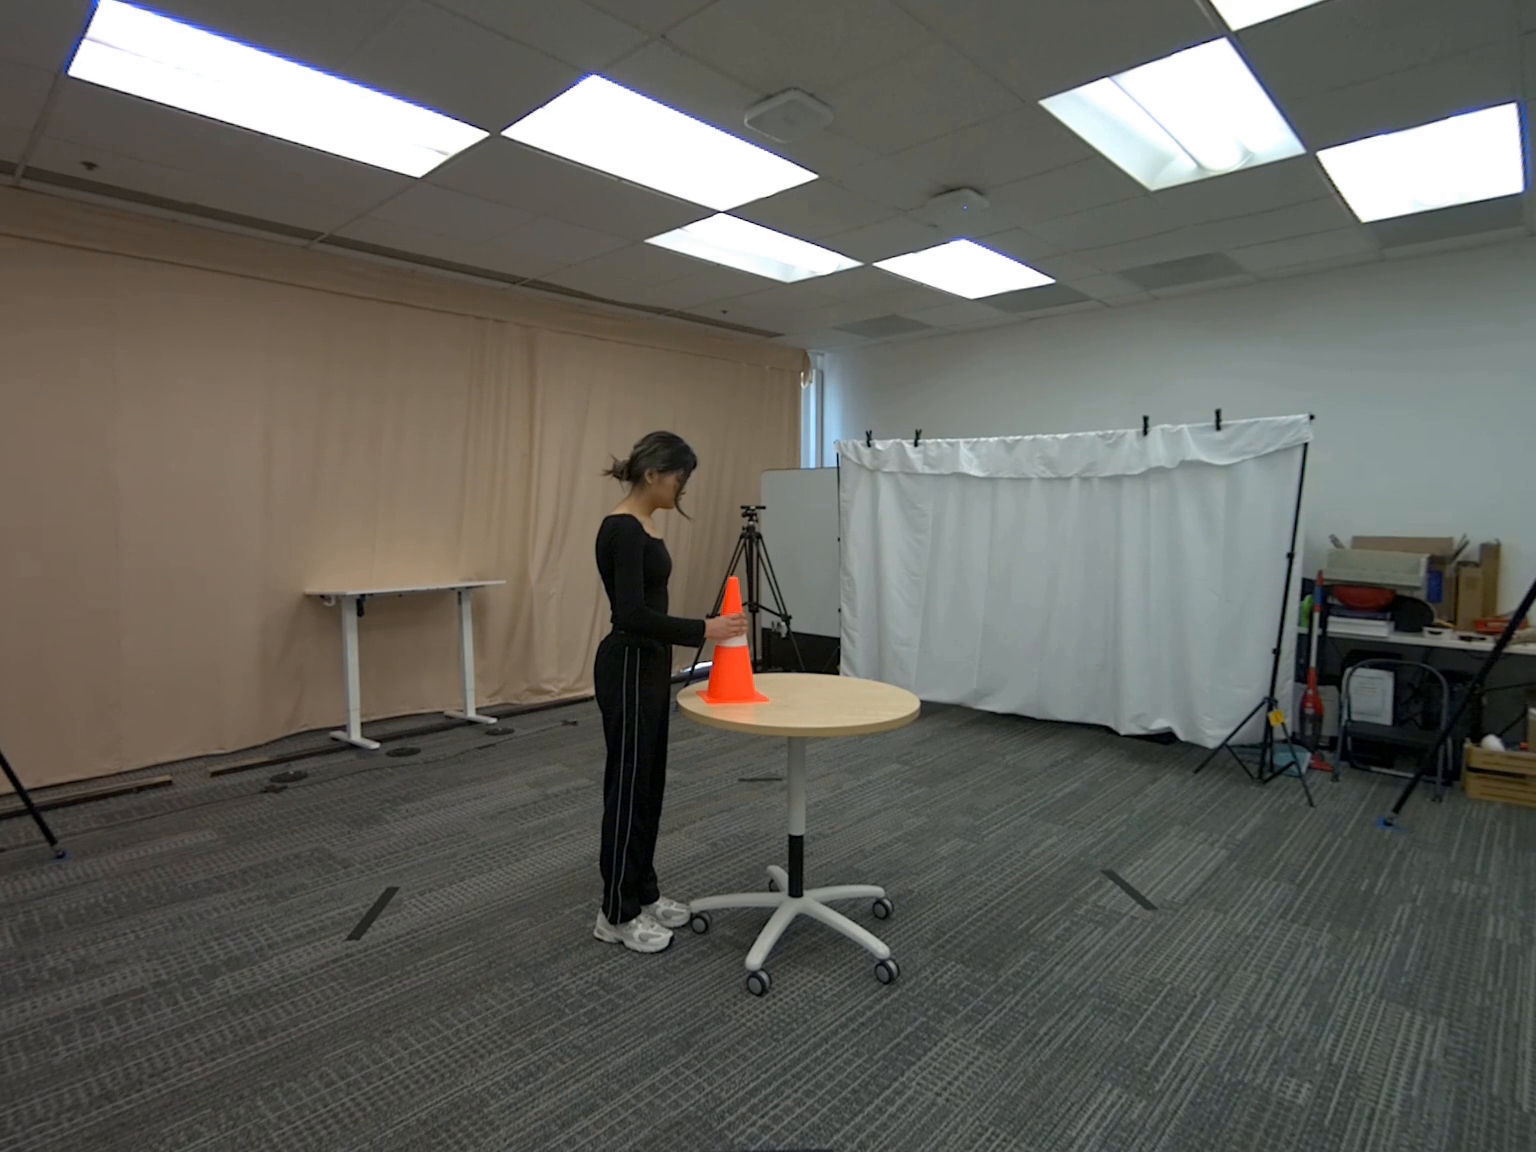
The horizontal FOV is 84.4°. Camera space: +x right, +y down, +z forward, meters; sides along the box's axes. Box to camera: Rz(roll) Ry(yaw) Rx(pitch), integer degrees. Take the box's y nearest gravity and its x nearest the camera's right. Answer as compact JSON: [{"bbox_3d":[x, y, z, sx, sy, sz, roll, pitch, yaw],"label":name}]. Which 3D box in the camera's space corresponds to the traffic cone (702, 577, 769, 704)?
[{"bbox_3d":[-0.118,0.200,2.668,0.201,0.383,0.207,-1,3,-10],"label":"traffic cone"}]
